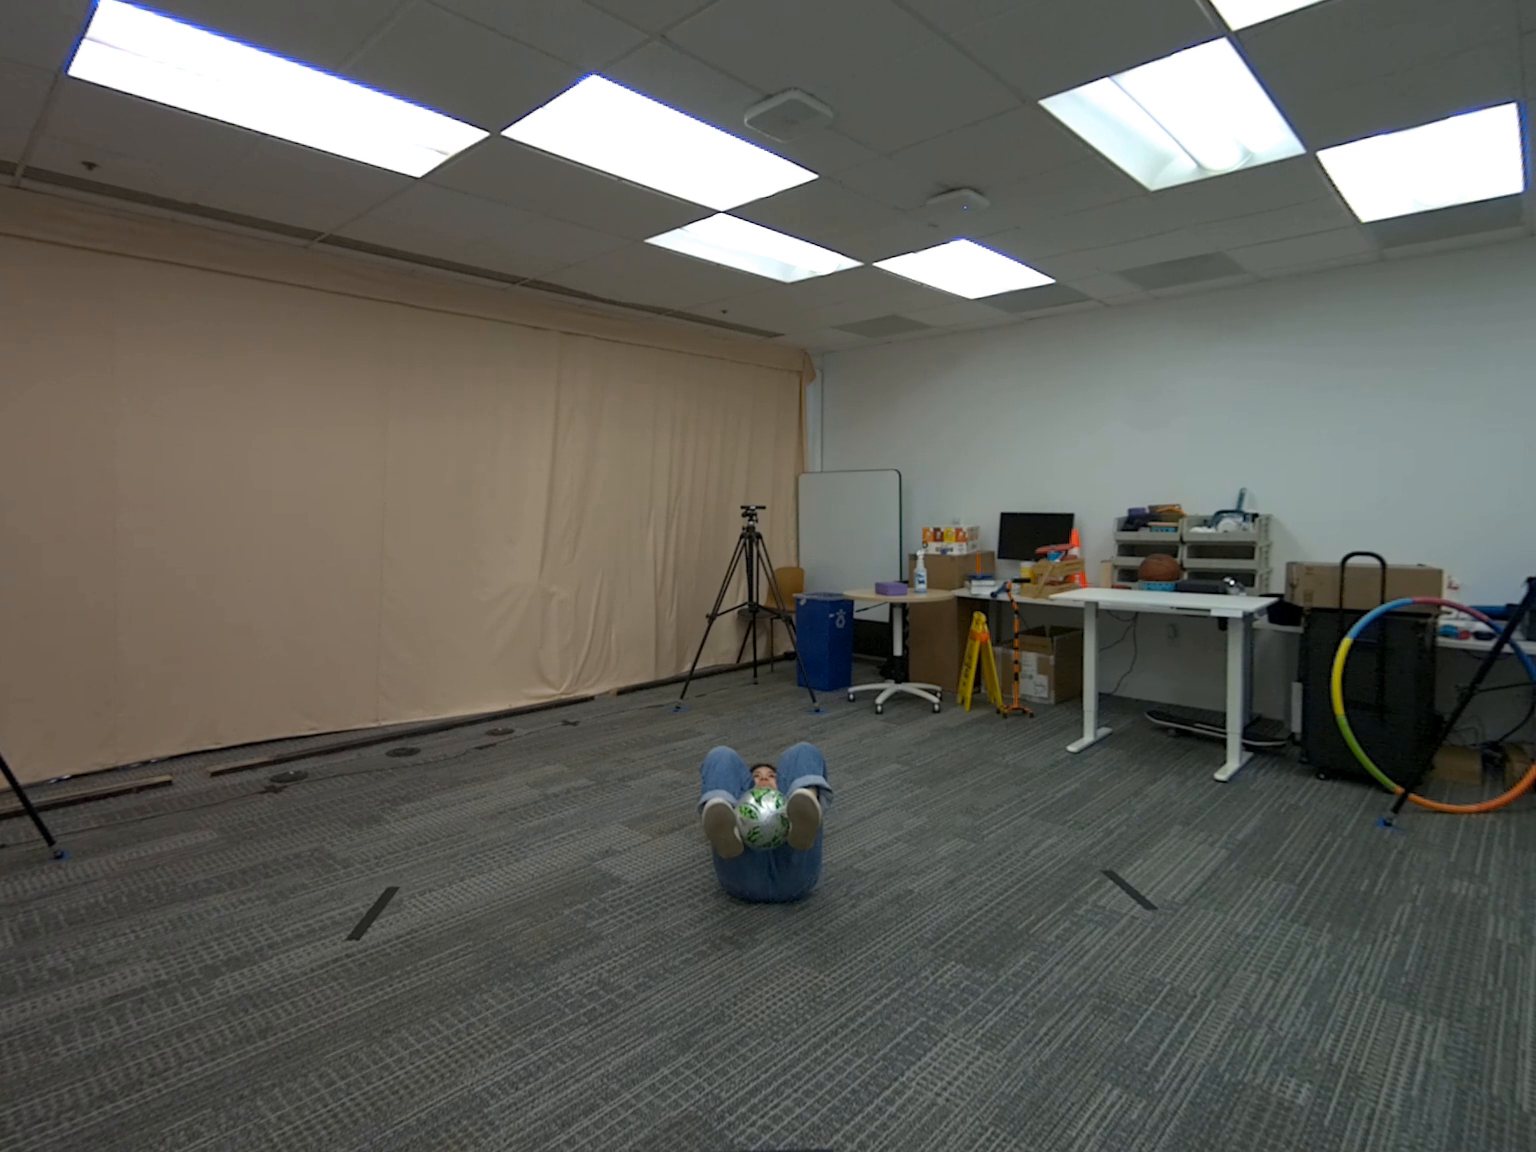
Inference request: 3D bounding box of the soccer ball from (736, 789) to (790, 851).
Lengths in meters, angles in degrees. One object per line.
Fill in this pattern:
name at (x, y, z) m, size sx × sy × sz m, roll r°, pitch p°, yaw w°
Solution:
soccer ball at (-0.001, 0.754, 2.590) m, size 0.187 × 0.187 × 0.188 m, roll 3°, pitch 4°, yaw -2°
